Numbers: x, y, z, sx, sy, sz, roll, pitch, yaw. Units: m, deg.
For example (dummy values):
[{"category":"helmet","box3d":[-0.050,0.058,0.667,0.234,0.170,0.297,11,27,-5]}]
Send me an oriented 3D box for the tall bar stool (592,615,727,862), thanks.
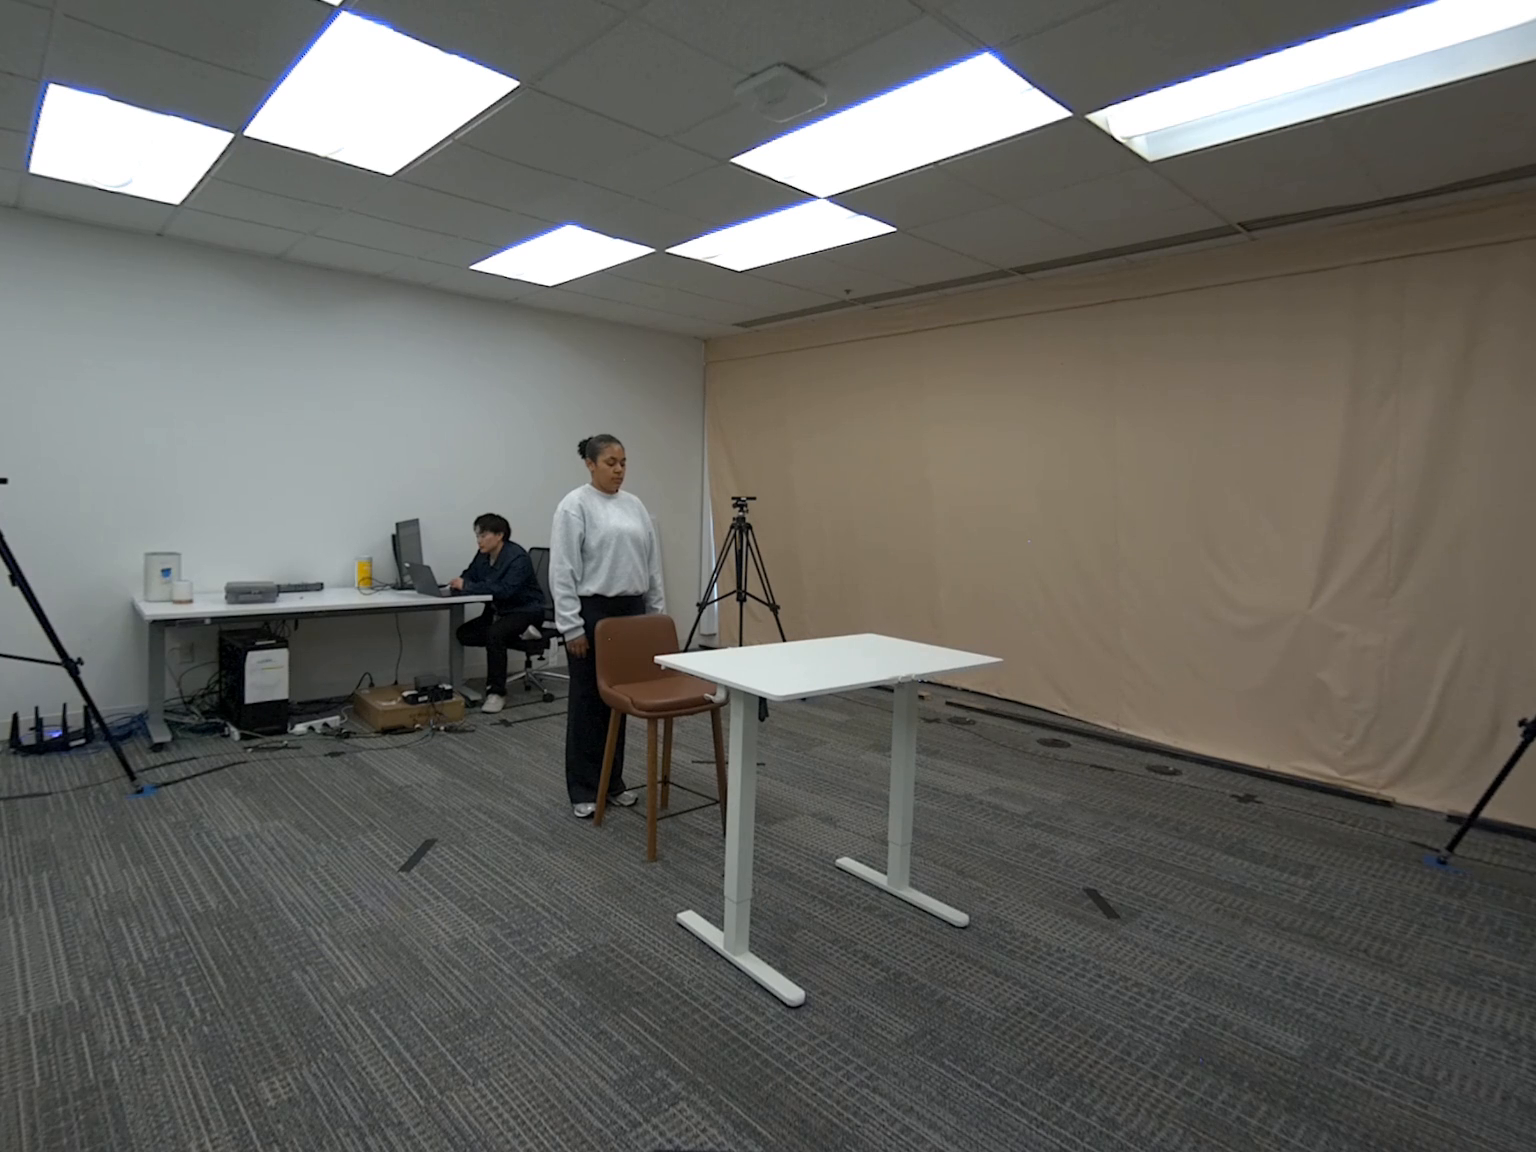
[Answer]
[{"category":"tall bar stool","box3d":[-0.451,0.626,3.483,0.446,0.889,0.479,-1,2,-41]}]
